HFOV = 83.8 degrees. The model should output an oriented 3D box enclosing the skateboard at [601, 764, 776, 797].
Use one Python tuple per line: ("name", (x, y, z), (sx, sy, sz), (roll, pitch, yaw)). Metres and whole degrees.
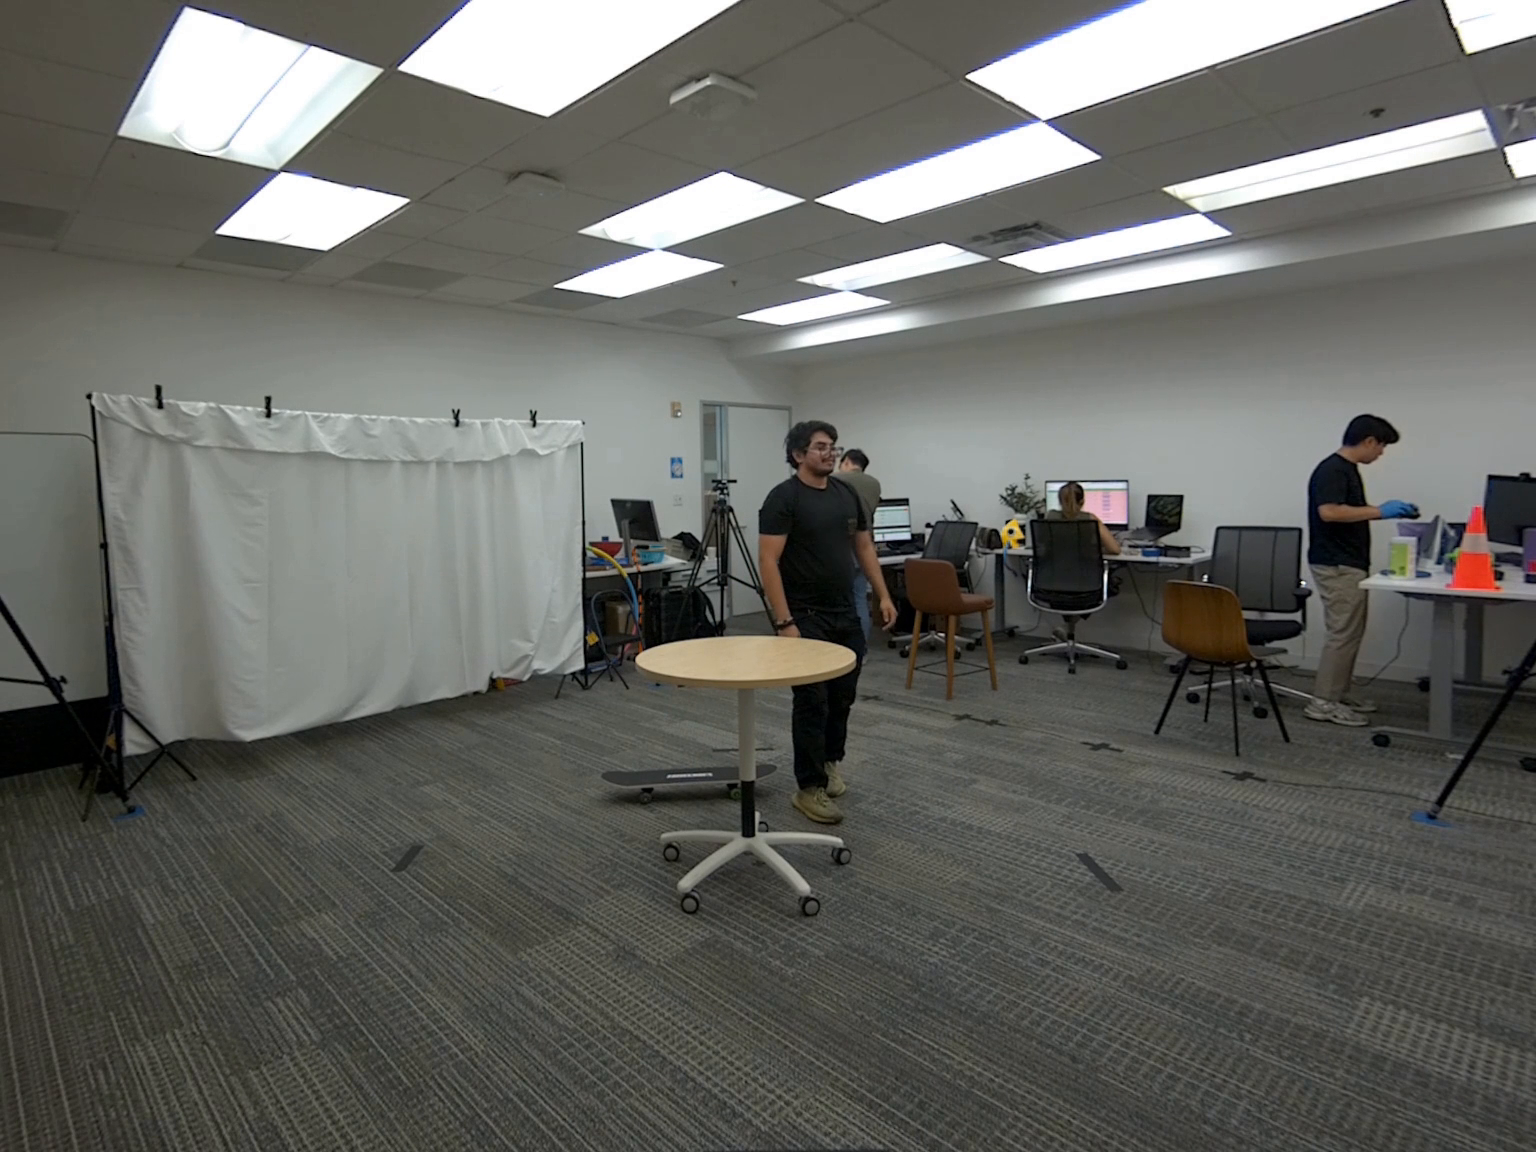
("skateboard", (-0.352, 0.924, 3.807), (0.782, 0.110, 0.195), (-2, 5, -4))
